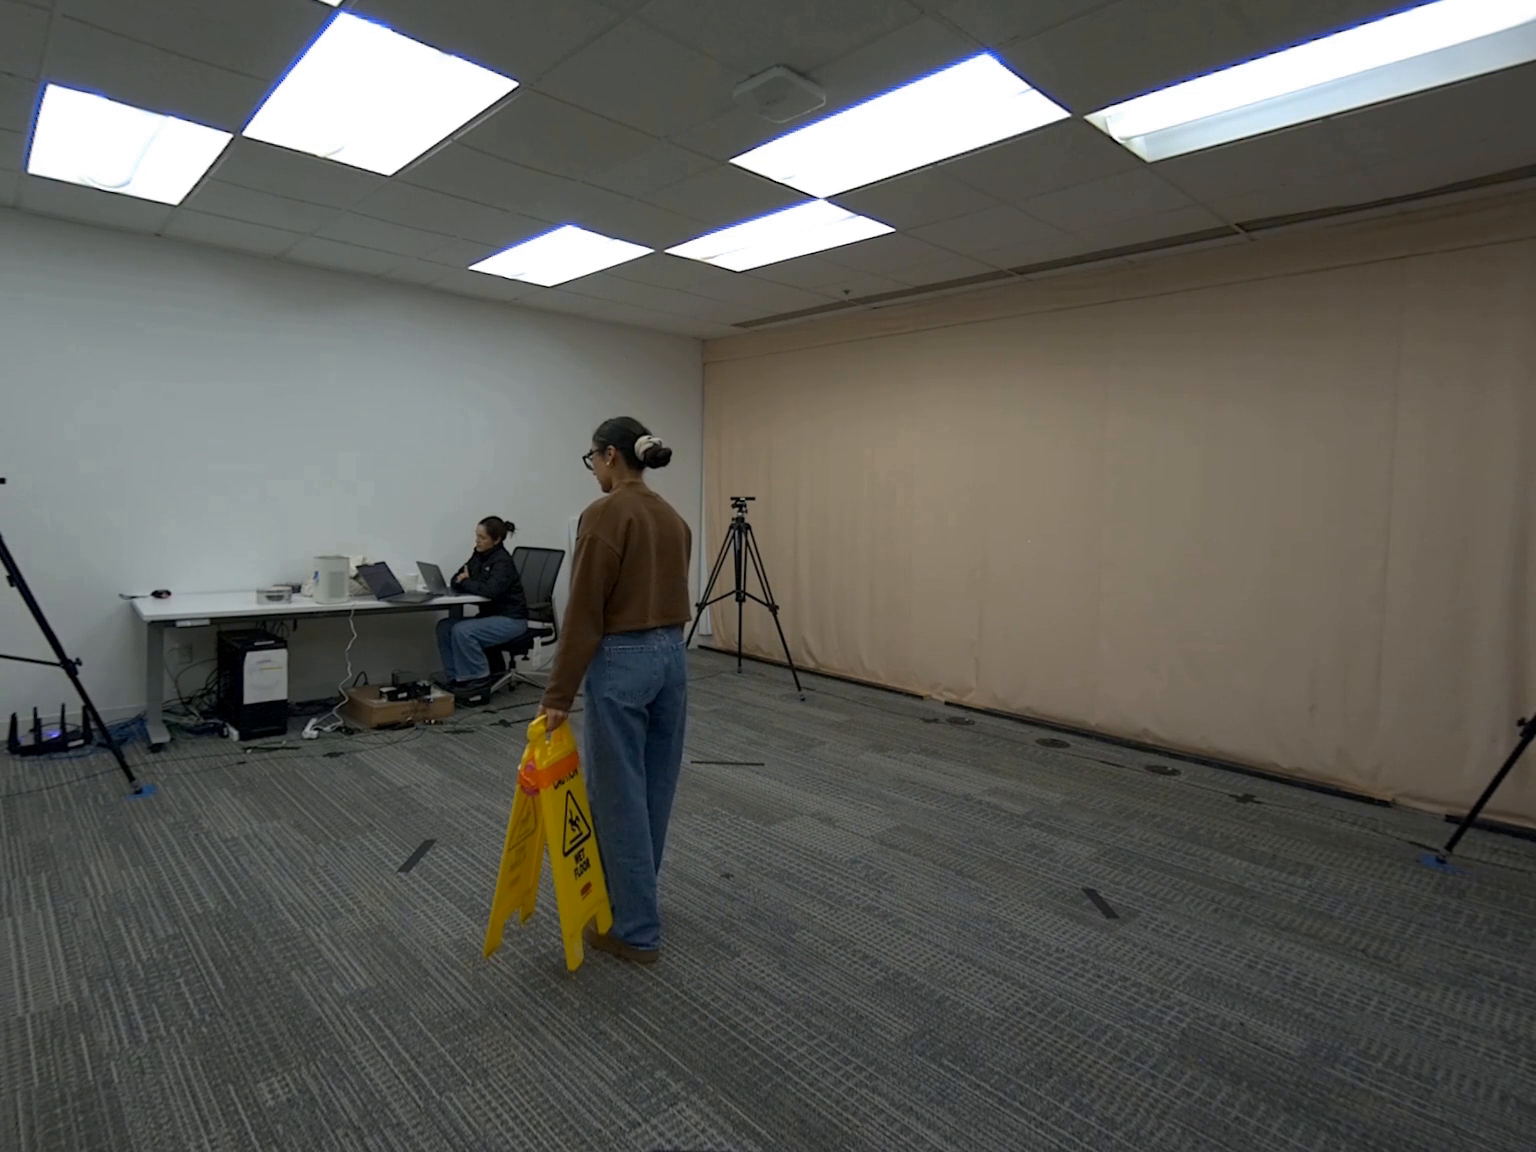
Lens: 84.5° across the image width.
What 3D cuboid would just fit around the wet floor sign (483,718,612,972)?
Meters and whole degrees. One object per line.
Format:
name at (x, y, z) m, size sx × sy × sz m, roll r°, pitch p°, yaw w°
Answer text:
wet floor sign at (-0.628, 0.724, 2.362) m, size 0.293 × 0.644 × 0.280 m, roll 1°, pitch 4°, yaw 13°
